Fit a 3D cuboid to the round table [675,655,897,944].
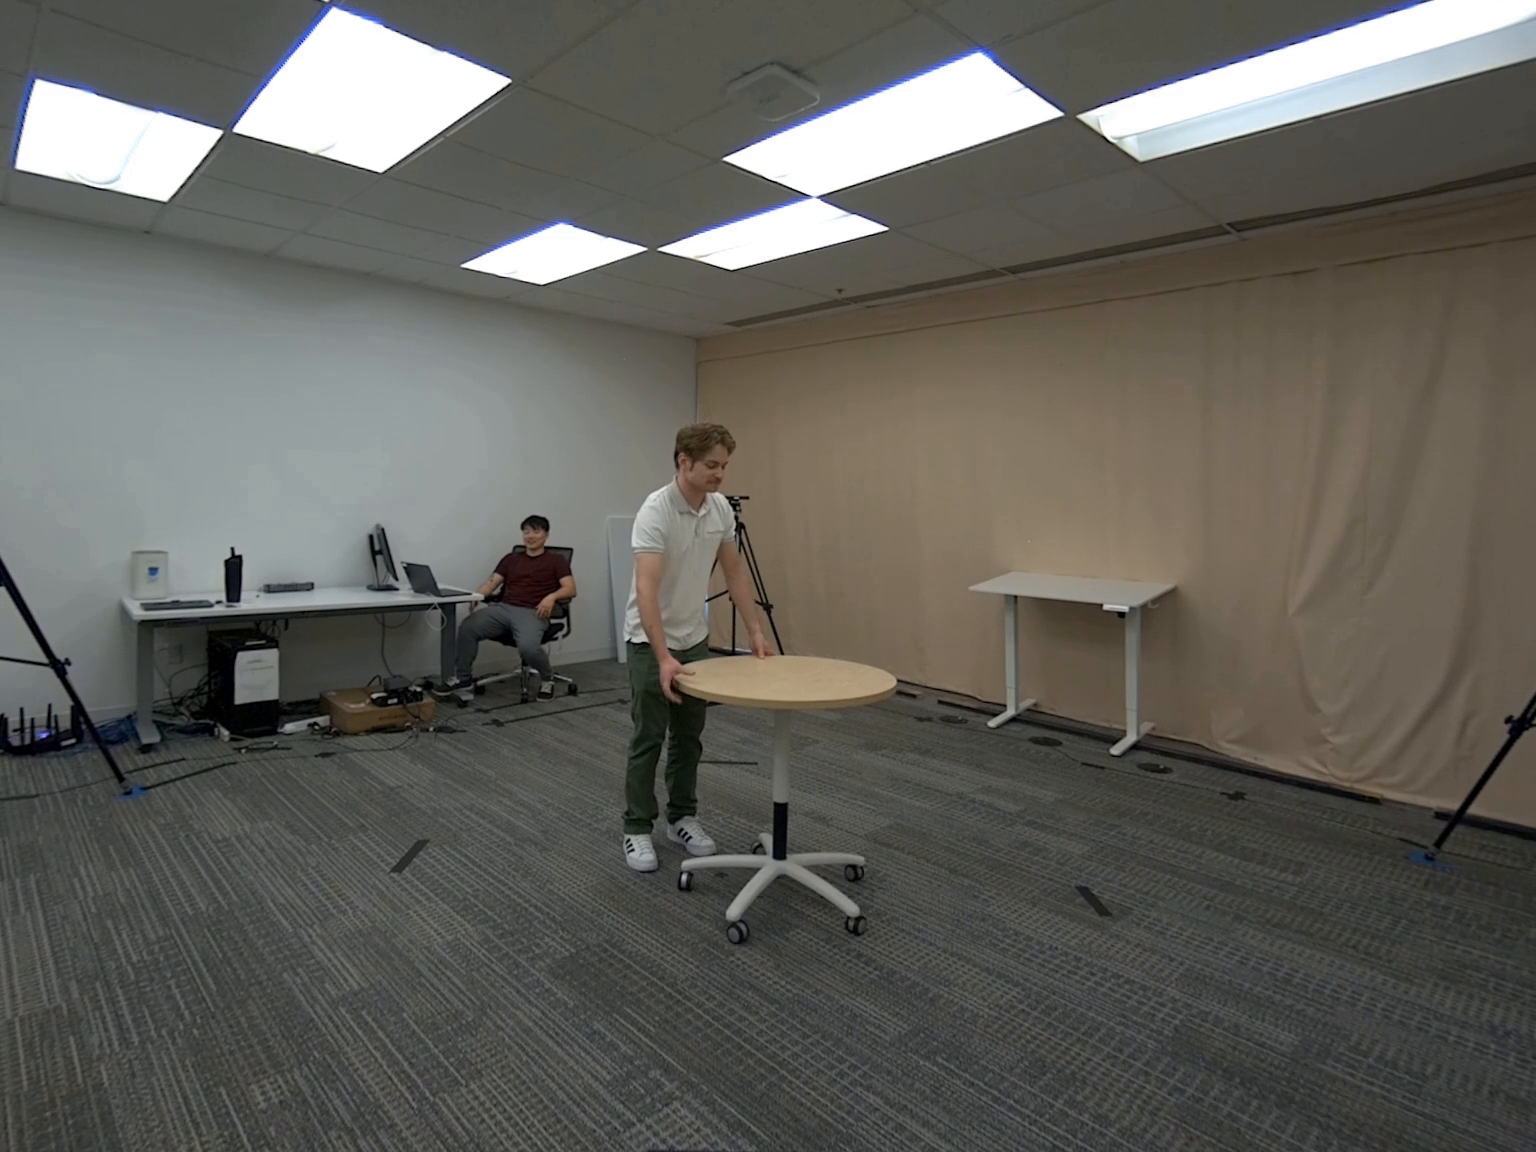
[{"bbox_3d":[0.044,0.737,2.912,0.763,0.792,0.766,1,4,-1],"label":"round table"}]
